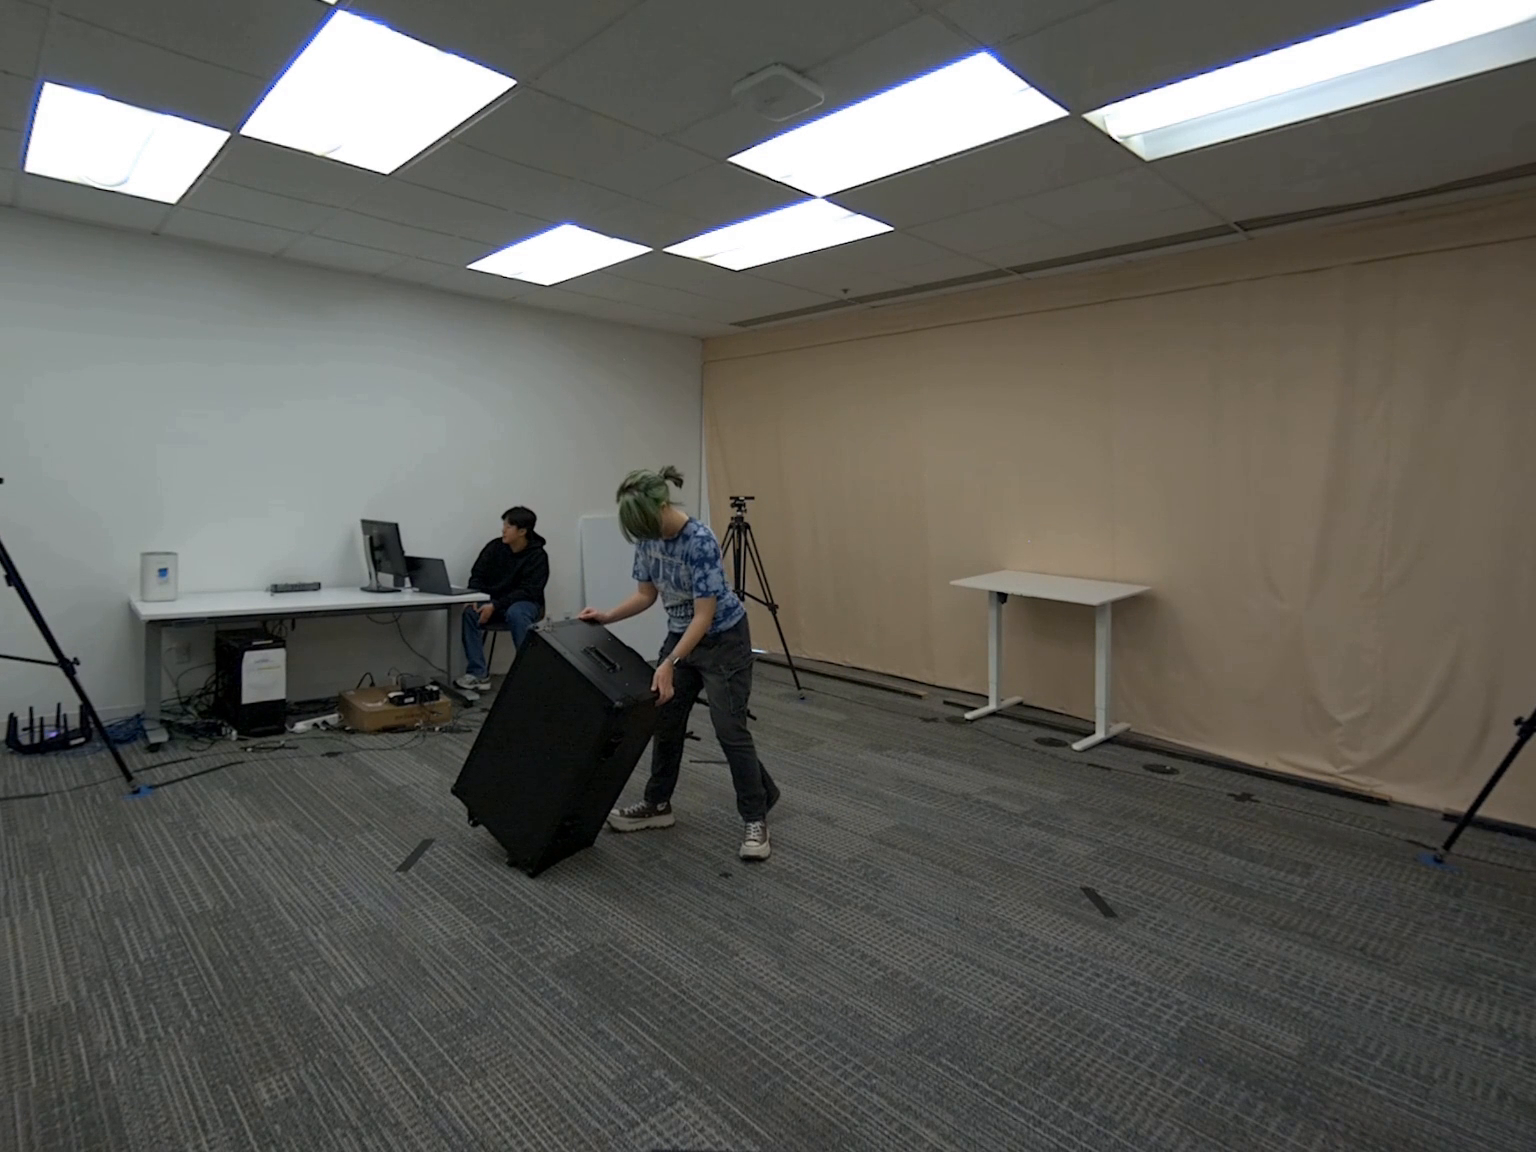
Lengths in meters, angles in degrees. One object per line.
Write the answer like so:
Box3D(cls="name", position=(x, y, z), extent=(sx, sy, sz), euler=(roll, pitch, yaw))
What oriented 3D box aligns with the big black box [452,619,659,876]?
Box3D(cls="big black box", position=(-0.793, 0.651, 3.192), extent=(0.534, 0.858, 0.388), euler=(37, 18, 23))
